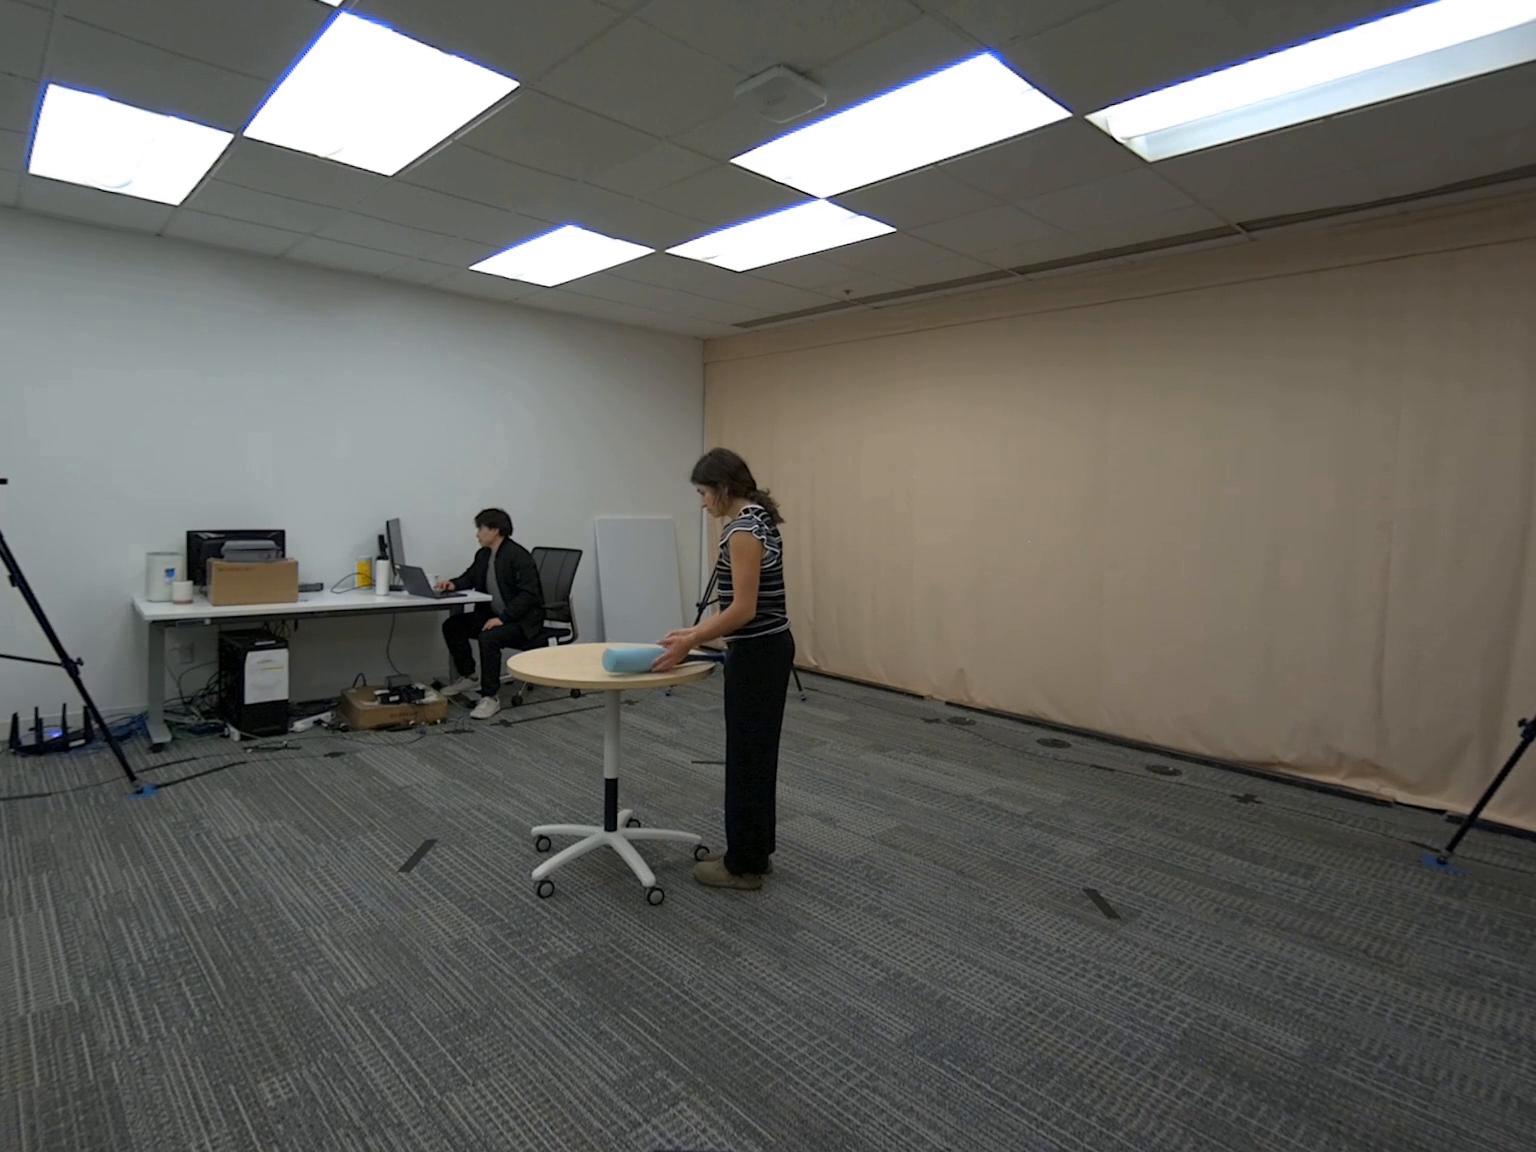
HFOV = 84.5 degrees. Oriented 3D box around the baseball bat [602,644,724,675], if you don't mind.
[{"bbox_3d":[-0.343,0.293,2.980,0.529,0.089,0.091,4,1,-41],"label":"baseball bat"}]
